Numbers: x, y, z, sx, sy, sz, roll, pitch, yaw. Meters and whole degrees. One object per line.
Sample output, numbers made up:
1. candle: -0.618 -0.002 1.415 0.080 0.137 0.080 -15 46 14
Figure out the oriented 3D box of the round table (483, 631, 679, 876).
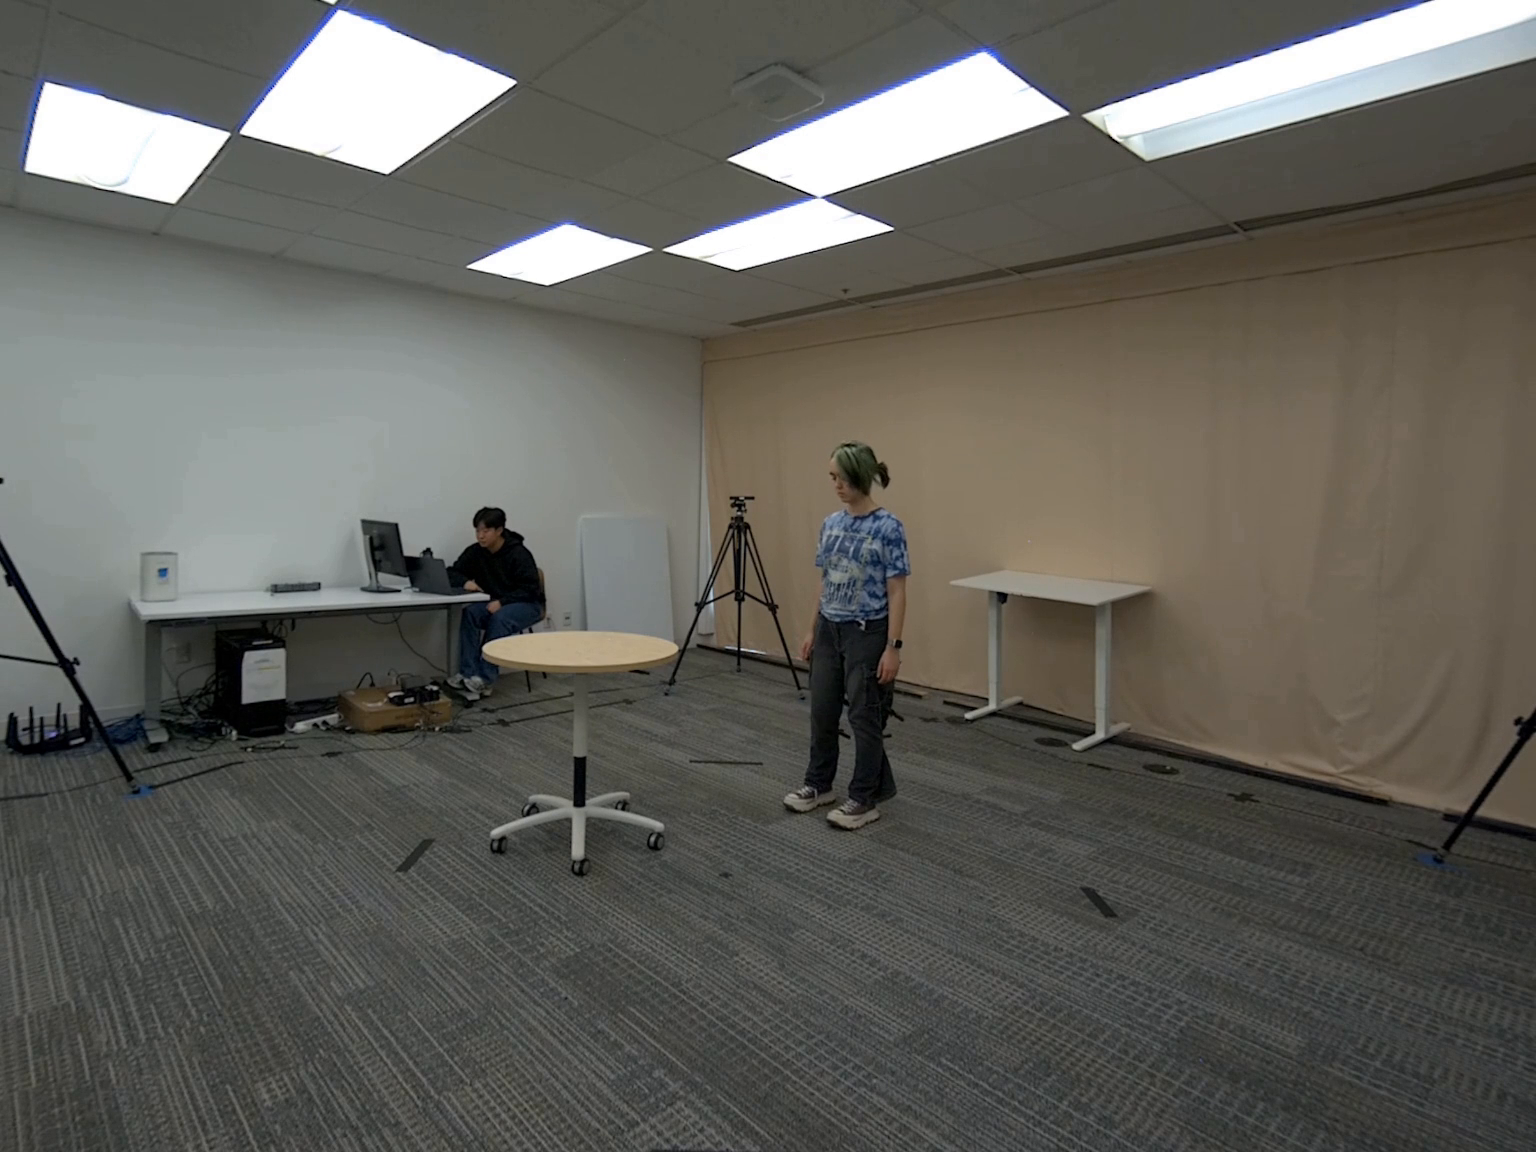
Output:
1. round table: -0.757 0.679 3.368 0.763 0.792 0.766 1 4 -1
